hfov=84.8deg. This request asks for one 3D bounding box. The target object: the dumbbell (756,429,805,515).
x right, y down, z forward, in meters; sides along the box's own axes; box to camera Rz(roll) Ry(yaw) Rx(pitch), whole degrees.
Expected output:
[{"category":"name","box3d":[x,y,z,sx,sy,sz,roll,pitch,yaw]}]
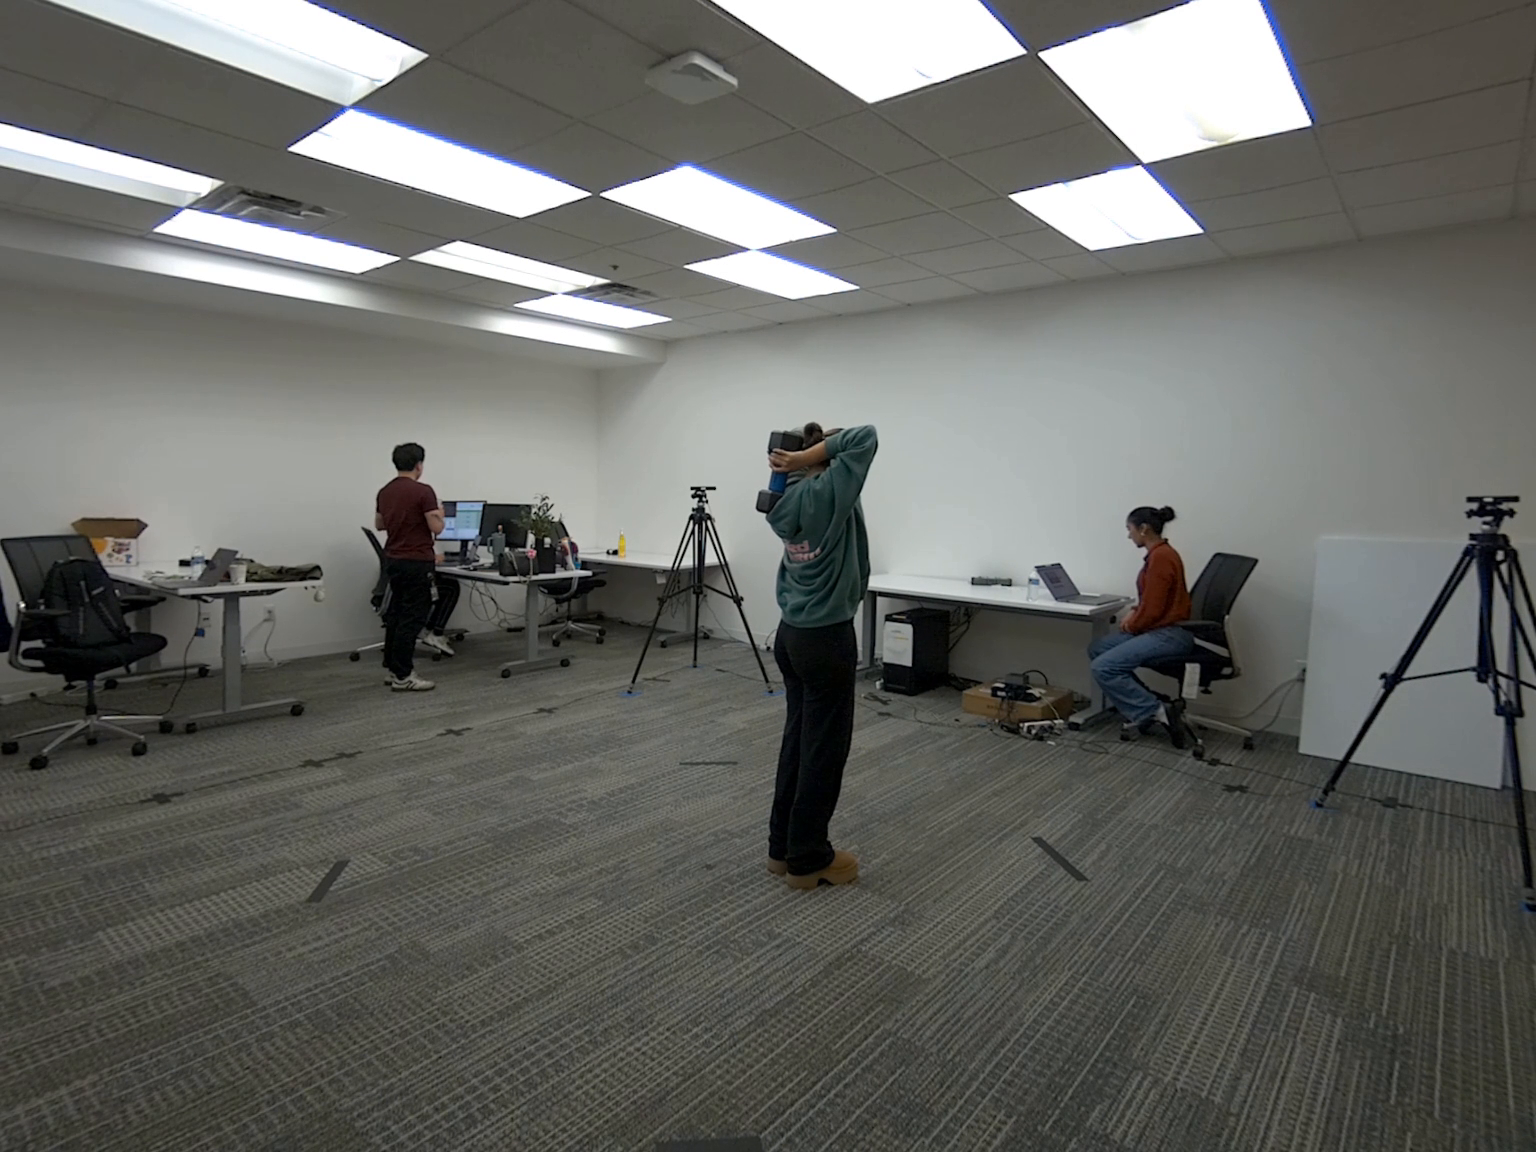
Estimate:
[{"category":"dumbbell","box3d":[0.034,-0.362,2.968,0.119,0.293,0.112,12,1,-25]}]
